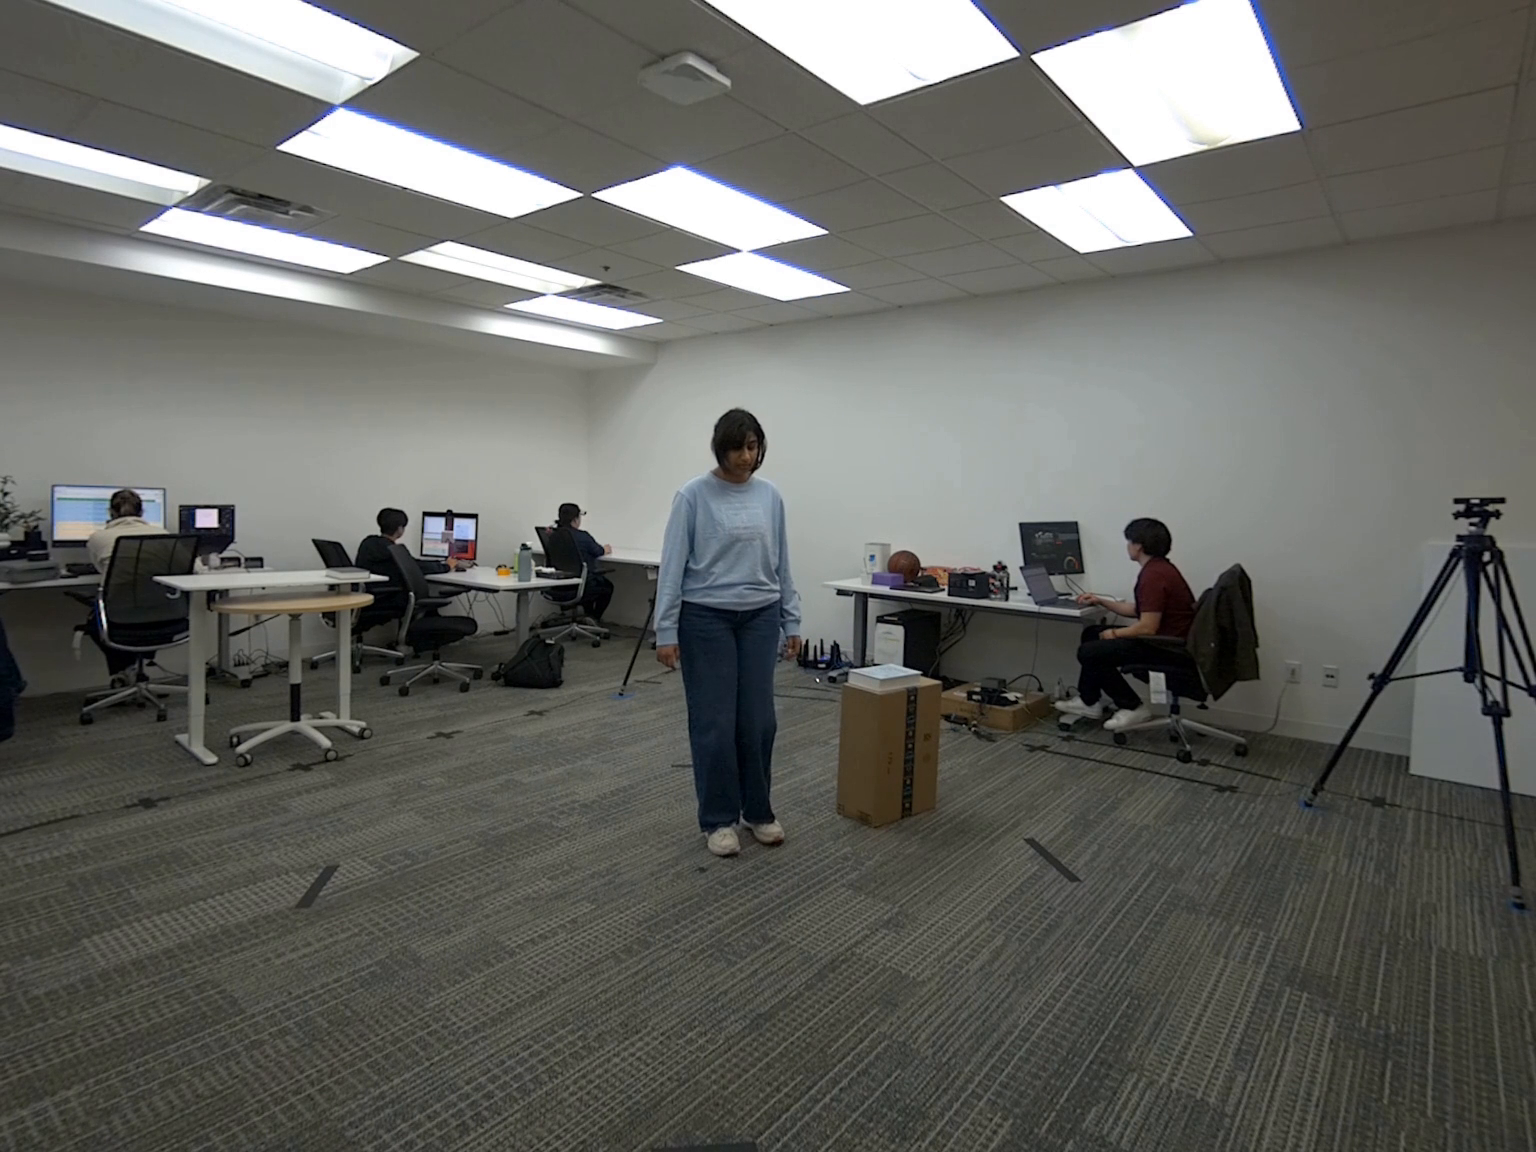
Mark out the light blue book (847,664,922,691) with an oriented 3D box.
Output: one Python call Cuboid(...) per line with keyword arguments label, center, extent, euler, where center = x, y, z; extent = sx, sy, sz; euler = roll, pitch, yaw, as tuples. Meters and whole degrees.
Cuboid(label="light blue book", center=(0.499, 0.434, 3.673), extent=(0.253, 0.059, 0.198), euler=(-4, 9, -38))
